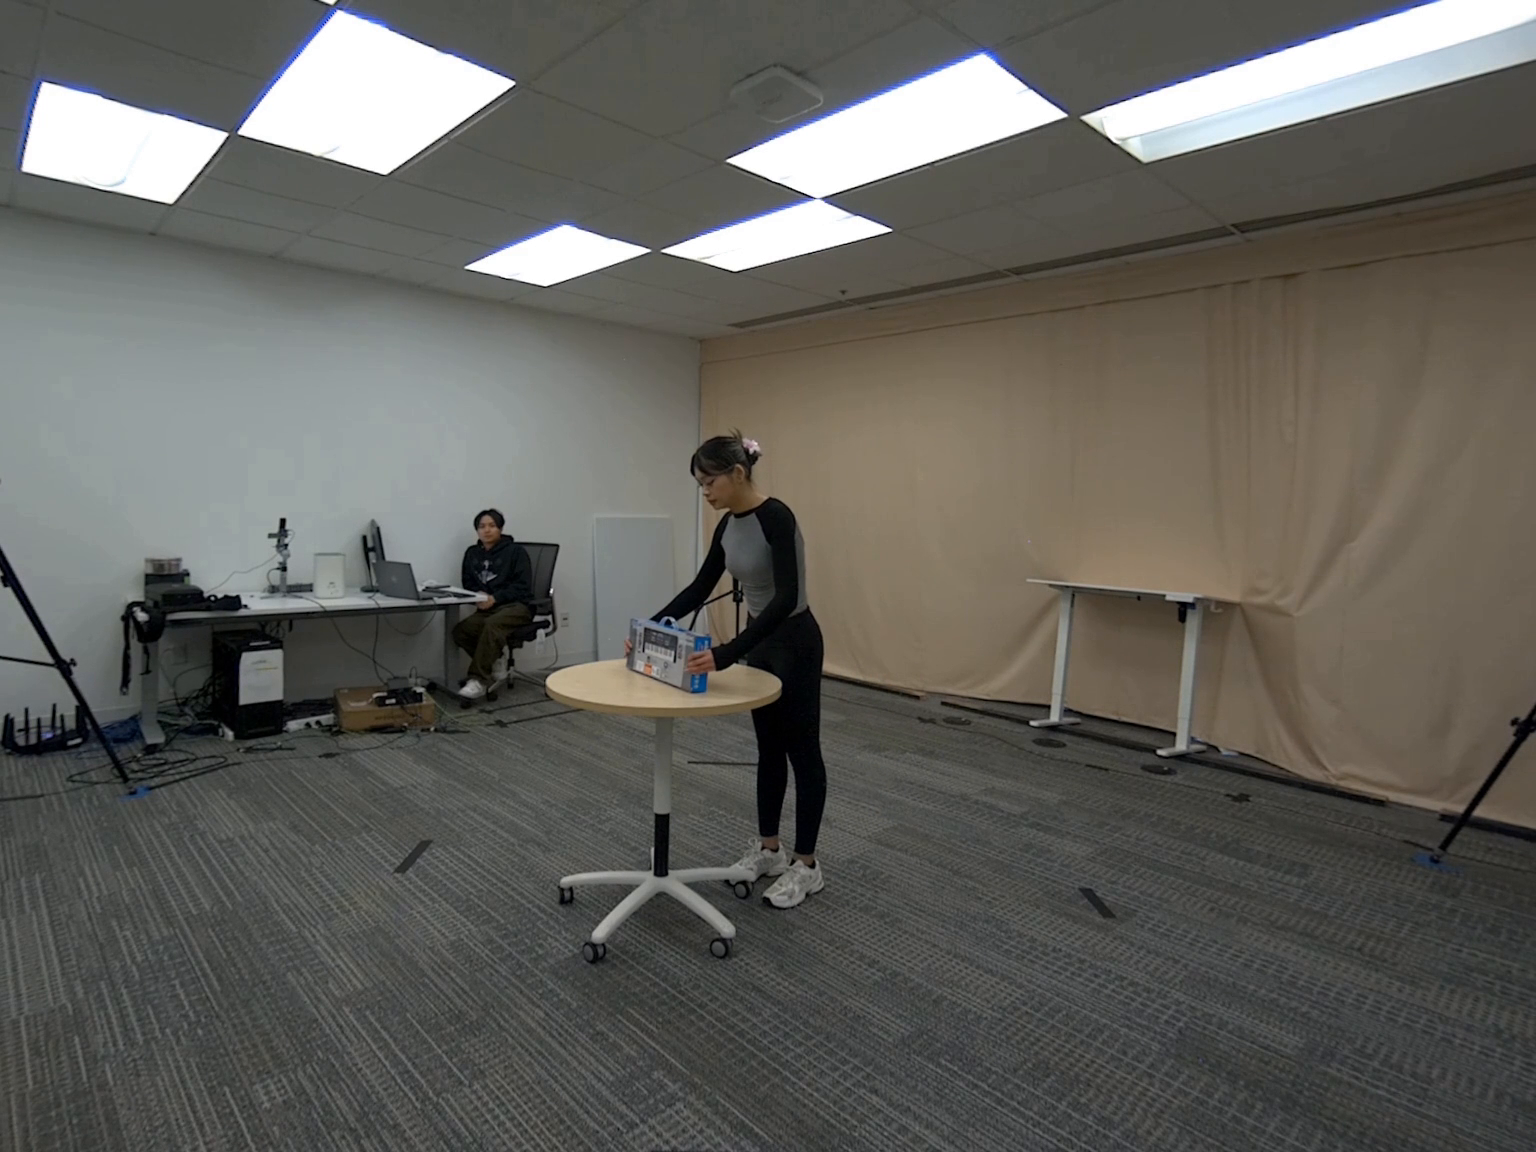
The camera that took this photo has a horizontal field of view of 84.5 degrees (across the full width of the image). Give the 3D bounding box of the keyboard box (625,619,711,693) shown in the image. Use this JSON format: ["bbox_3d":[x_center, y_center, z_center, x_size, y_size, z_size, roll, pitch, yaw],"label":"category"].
[{"bbox_3d":[-0.344,0.255,2.756,0.058,0.176,0.448,6,2,-35],"label":"keyboard box"}]
